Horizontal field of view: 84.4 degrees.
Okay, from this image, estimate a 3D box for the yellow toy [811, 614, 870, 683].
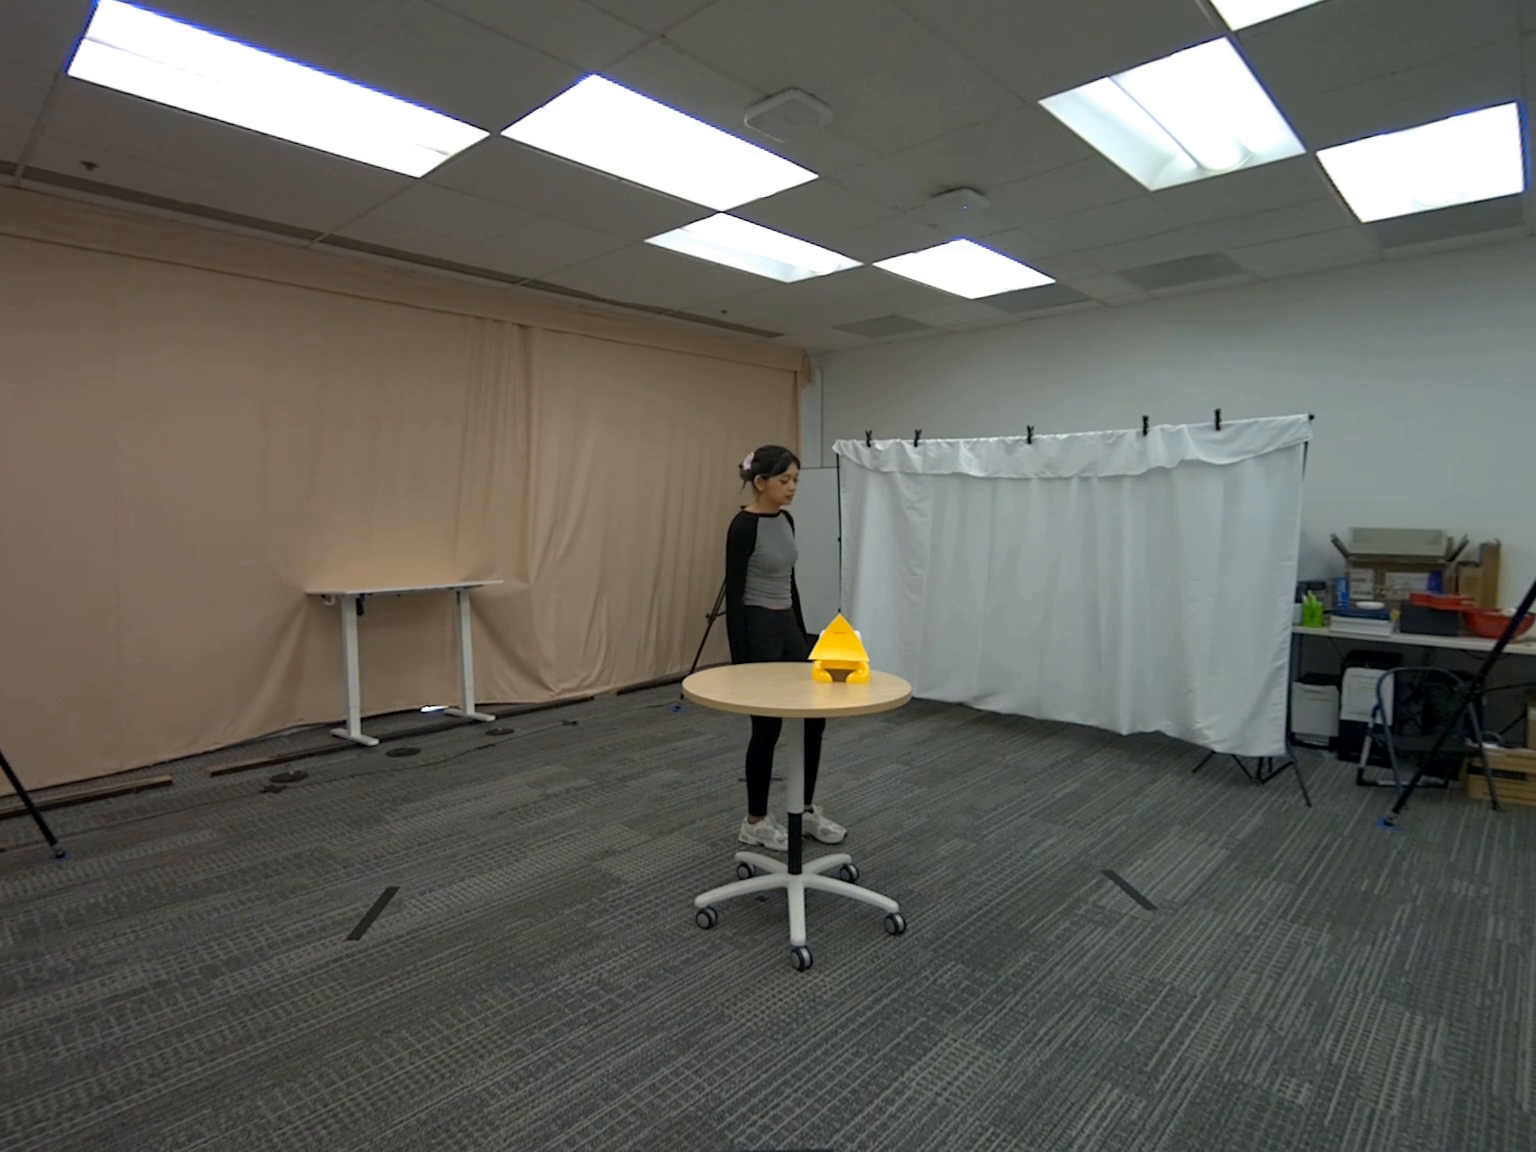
[{"bbox_3d":[0.254,0.241,2.916,0.207,0.230,0.191,0,3,11],"label":"yellow toy"}]
